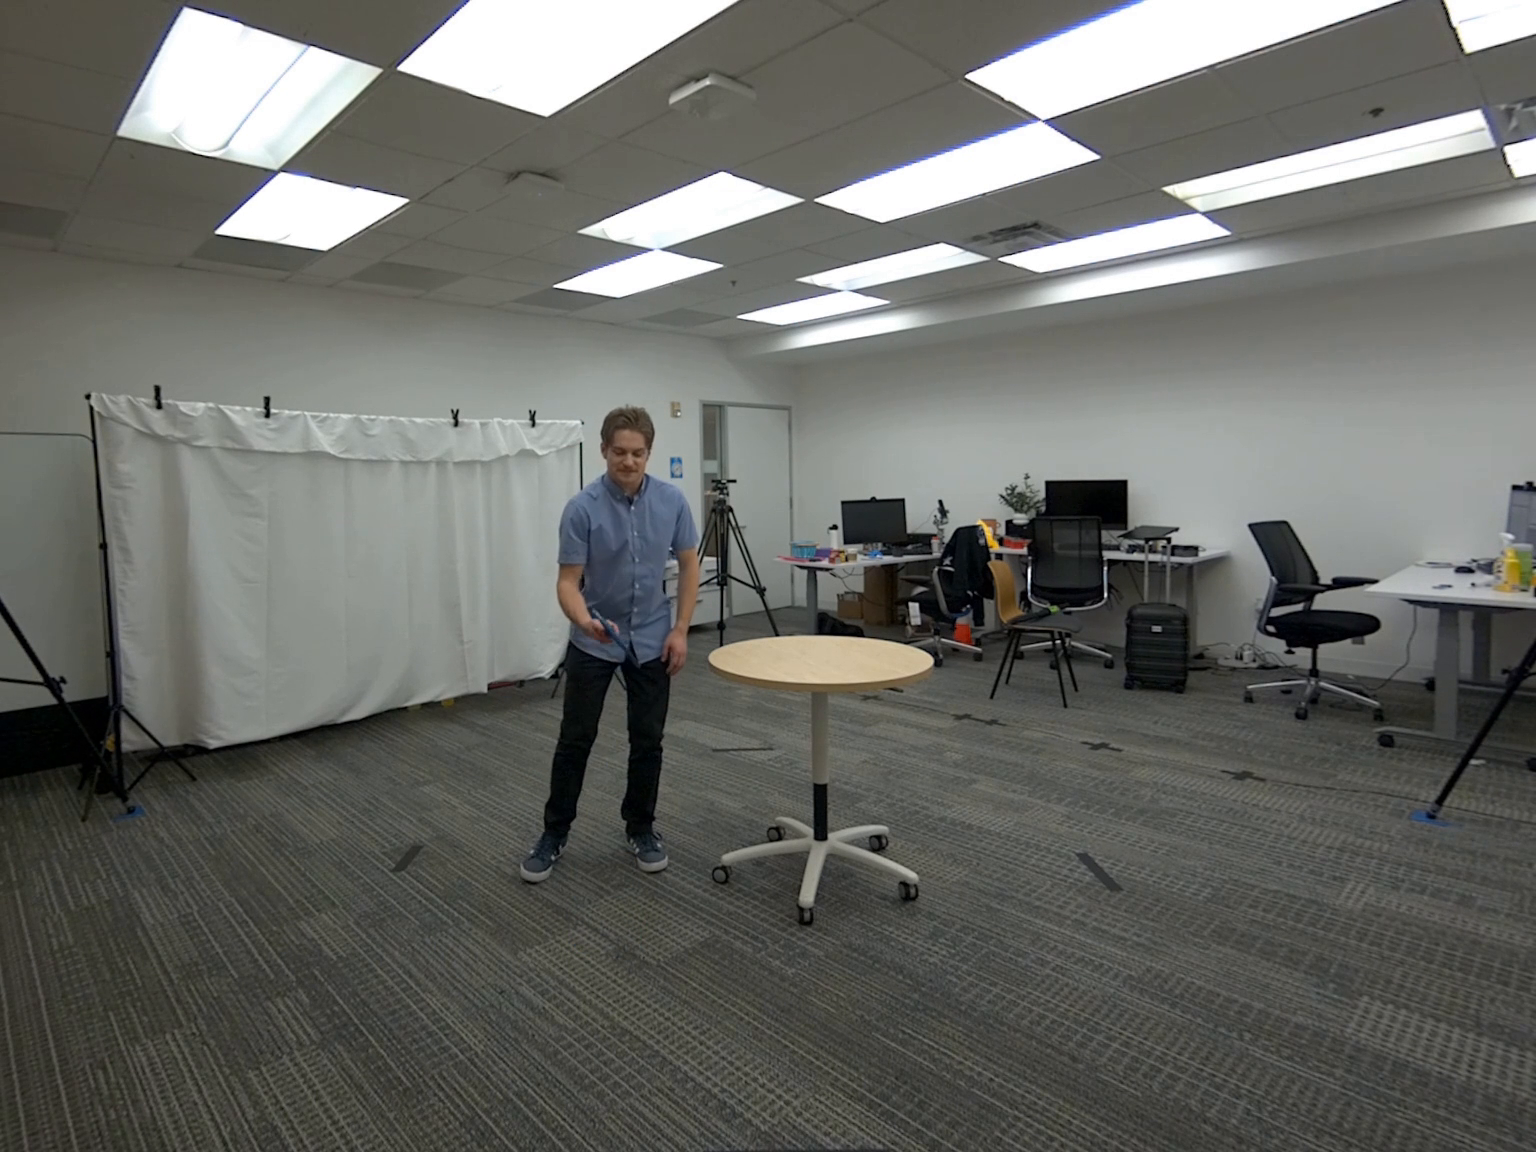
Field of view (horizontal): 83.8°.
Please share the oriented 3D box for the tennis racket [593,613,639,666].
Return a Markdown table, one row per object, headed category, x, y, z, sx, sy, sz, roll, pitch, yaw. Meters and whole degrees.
| category | x | y | z | sx | sy | sz | roll | pitch | yaw |
| --- | --- | --- | --- | --- | --- | --- | --- | --- | --- |
| tennis racket | -0.475 | 0.186 | 2.585 | 0.032 | 0.213 | 0.435 | -40 | 4 | -9 |
